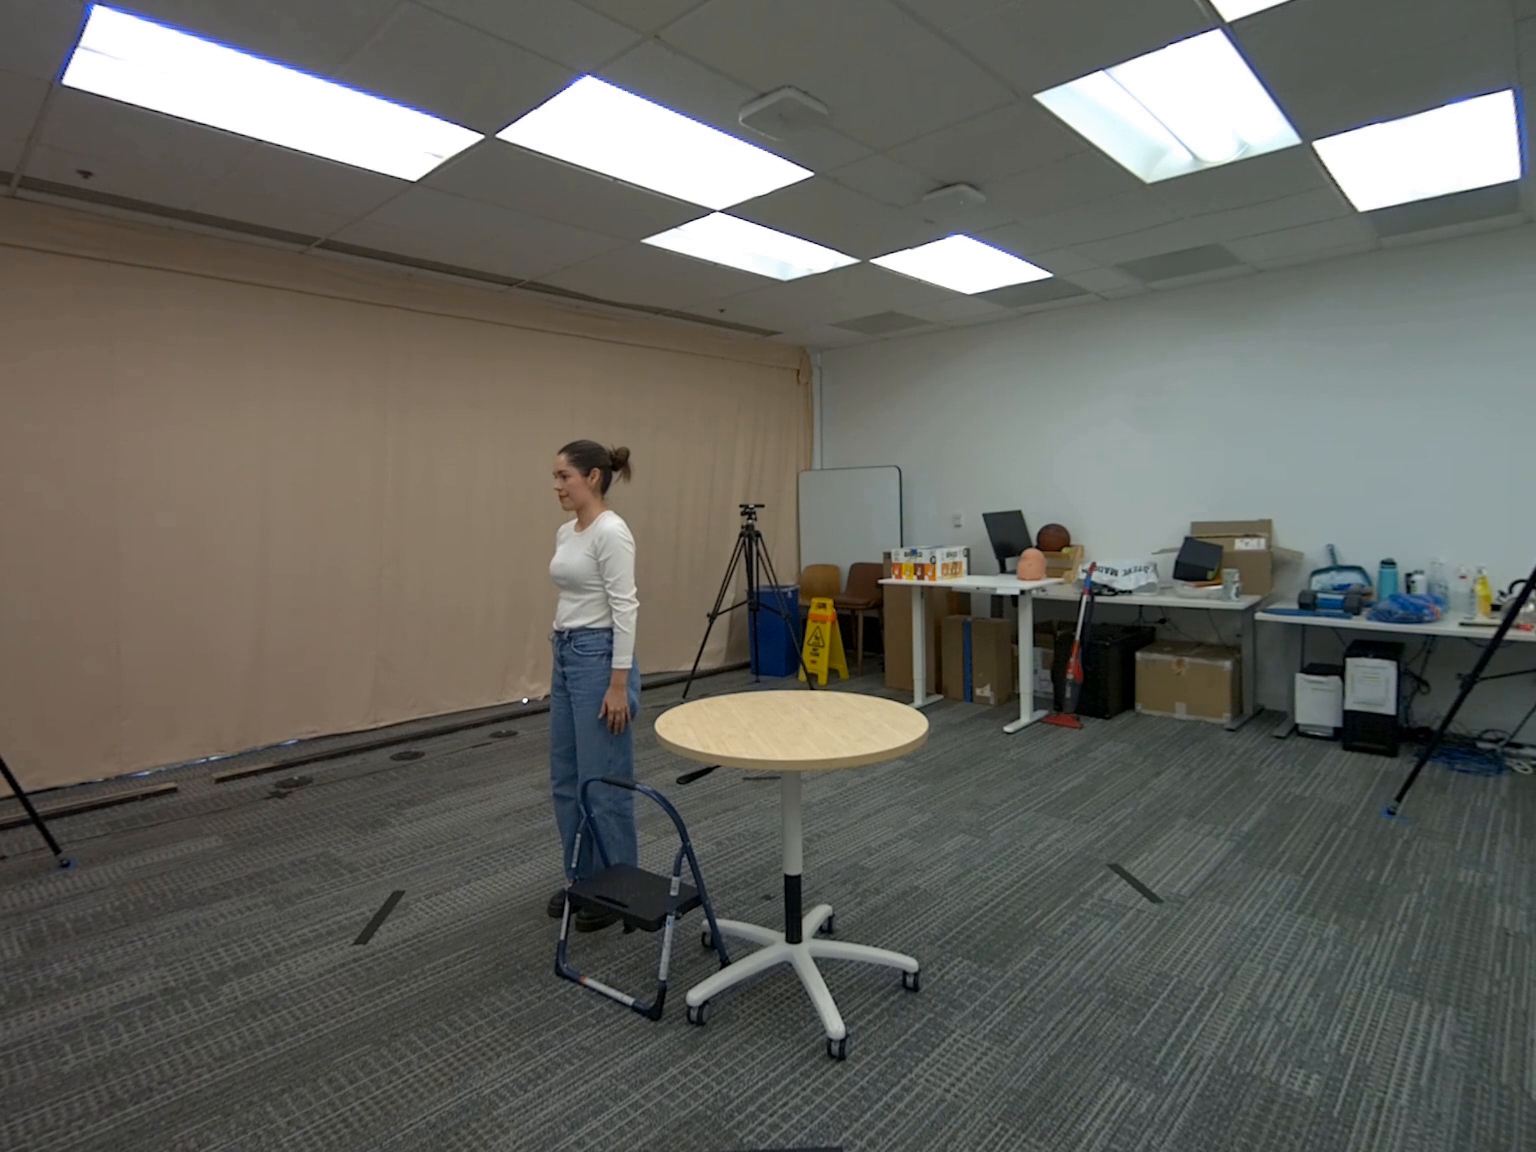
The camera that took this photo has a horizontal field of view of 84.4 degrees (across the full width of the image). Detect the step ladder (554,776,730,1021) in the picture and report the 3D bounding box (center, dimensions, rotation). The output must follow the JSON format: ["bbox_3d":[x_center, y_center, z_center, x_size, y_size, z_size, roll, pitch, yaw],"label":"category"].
[{"bbox_3d":[-0.381,0.882,2.518,0.444,0.605,0.339,1,4,35],"label":"step ladder"}]
